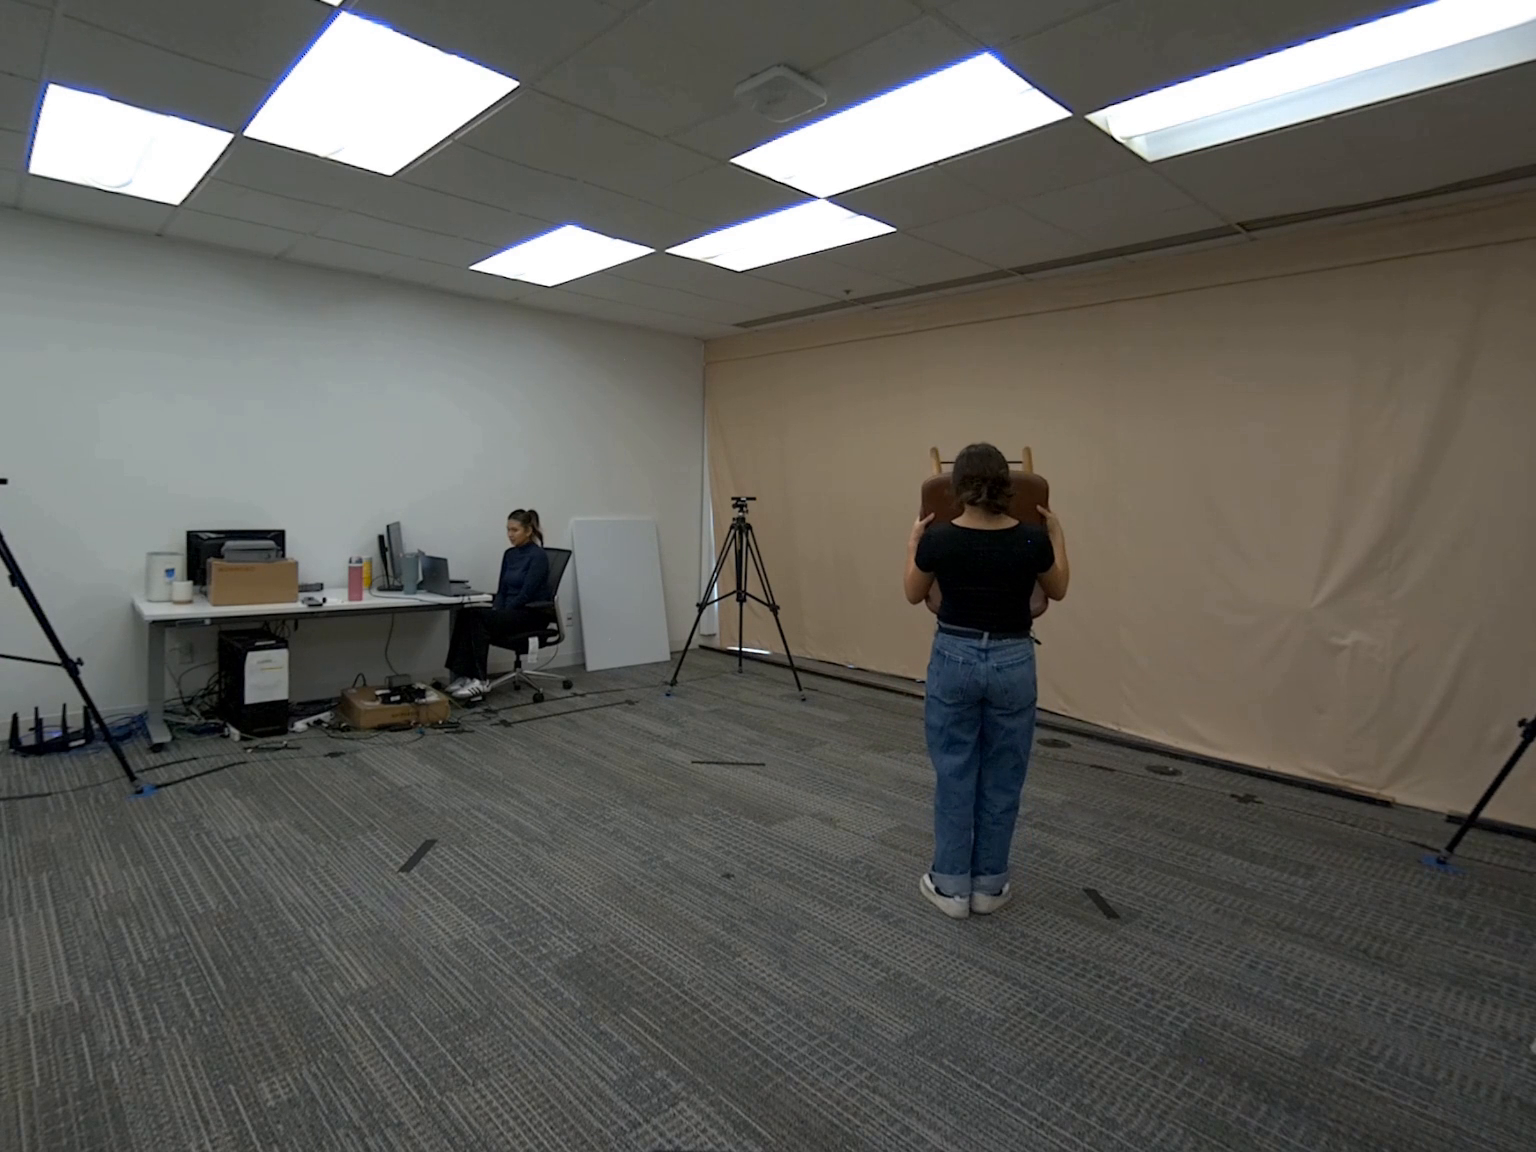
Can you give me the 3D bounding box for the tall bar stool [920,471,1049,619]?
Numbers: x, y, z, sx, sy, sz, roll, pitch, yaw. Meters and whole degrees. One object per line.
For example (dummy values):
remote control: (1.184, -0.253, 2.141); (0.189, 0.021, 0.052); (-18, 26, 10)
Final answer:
tall bar stool: (0.826, -0.196, 3.217); (0.462, 0.461, 0.891); (2, 19, 13)
